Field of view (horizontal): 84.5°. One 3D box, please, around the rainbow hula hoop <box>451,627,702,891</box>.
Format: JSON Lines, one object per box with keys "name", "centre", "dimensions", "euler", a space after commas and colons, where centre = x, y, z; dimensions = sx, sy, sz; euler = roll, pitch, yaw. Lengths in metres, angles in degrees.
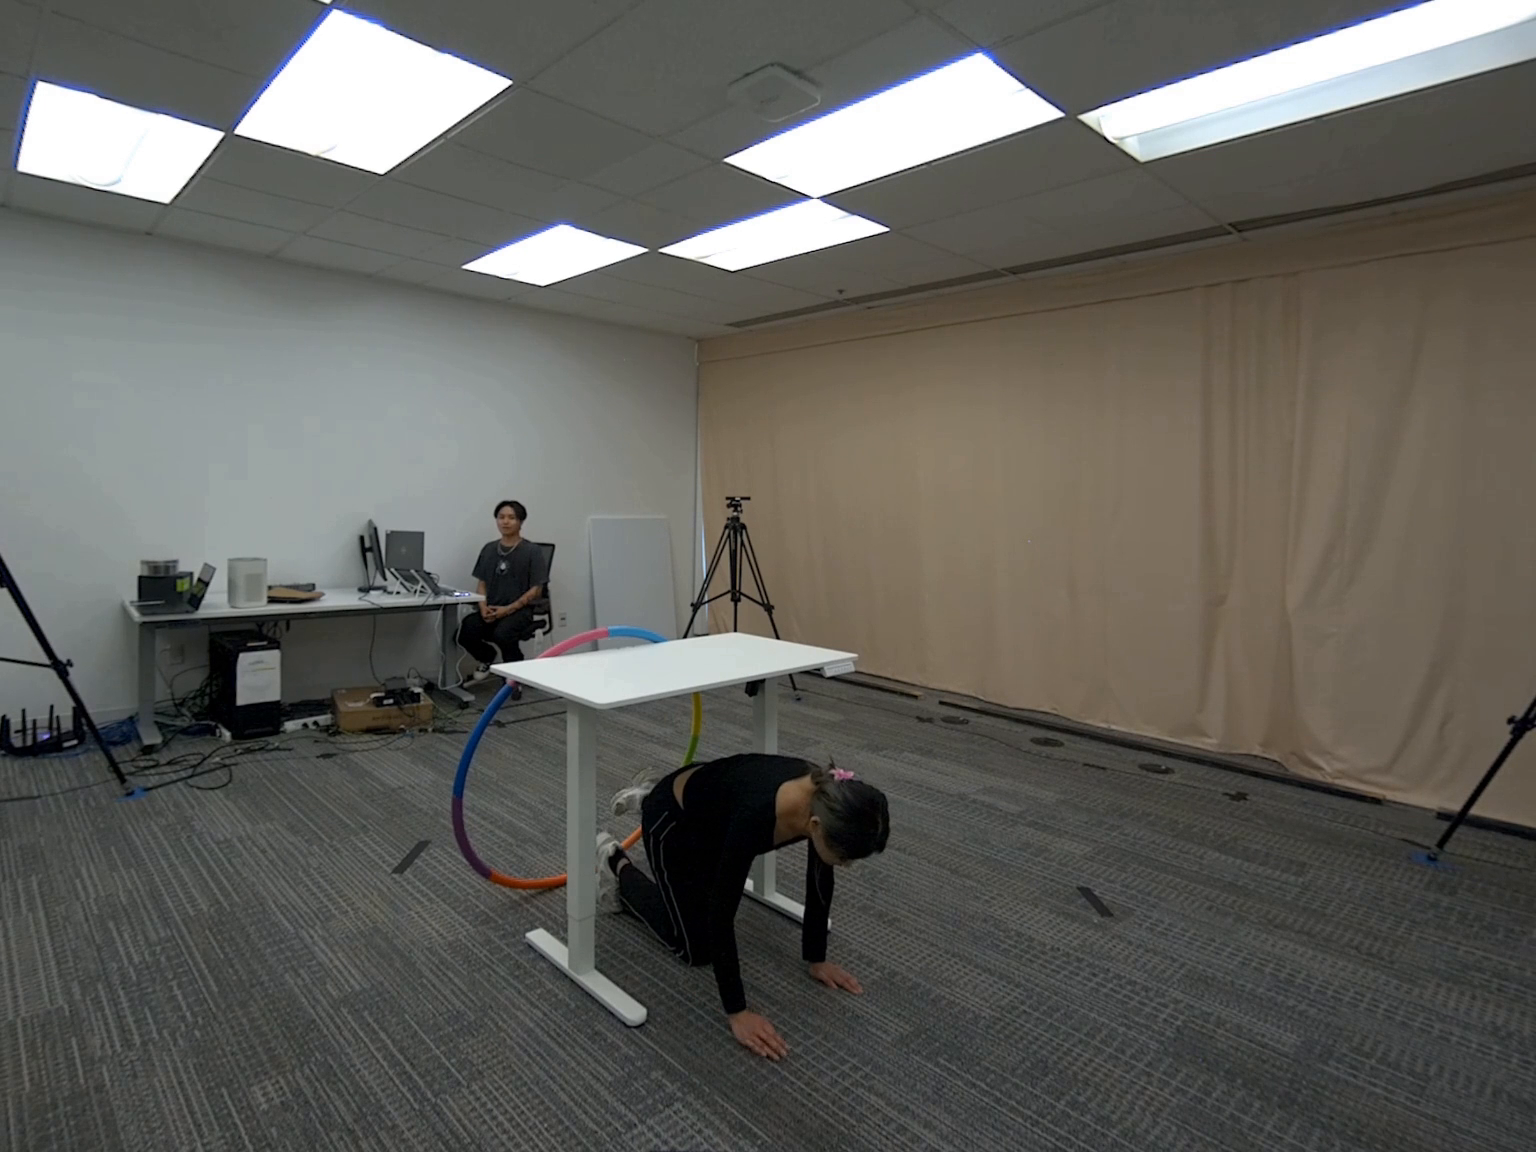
{"name": "rainbow hula hoop", "centre": [-0.623, 0.639, 2.913], "dimensions": [0.956, 0.971, 0.036], "euler": [-3, 20, -44]}
